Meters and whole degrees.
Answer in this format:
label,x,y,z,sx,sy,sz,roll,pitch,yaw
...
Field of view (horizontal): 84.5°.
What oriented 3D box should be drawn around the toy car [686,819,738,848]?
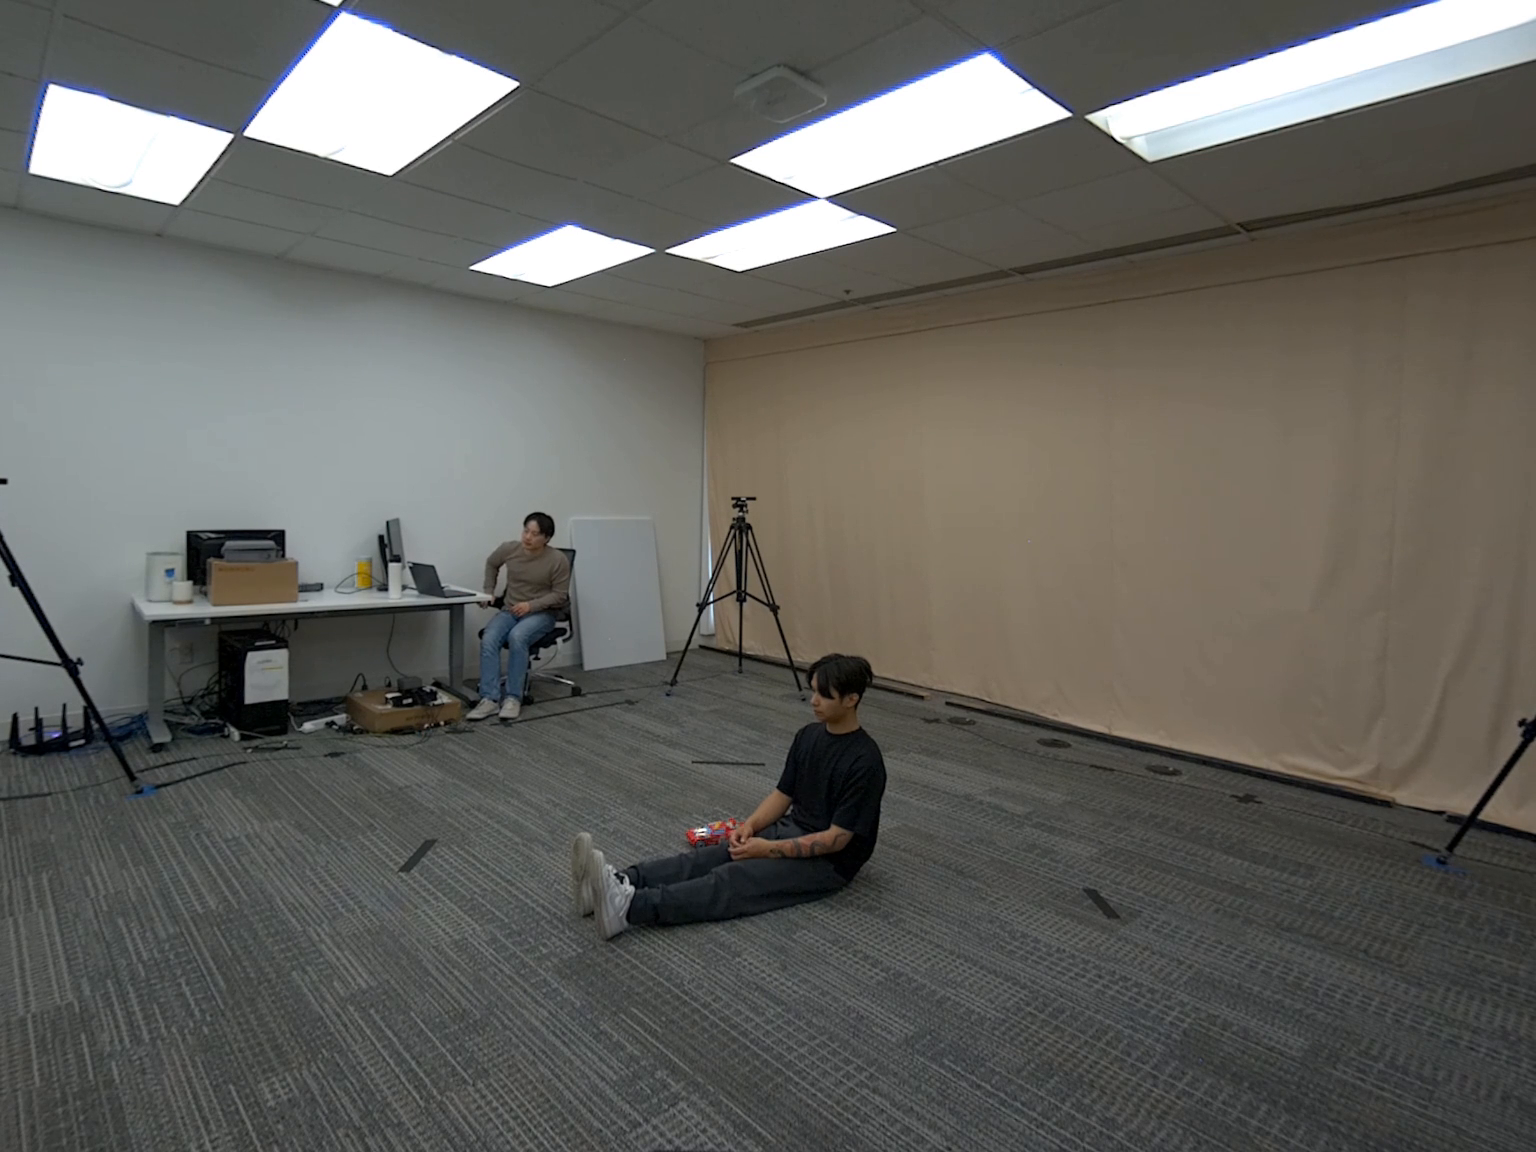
label,x,y,z,sx,sy,sz,roll,pitch,yaw
toy car,-0.208,1.051,3.419,0.251,0.083,0.132,-12,8,-19
